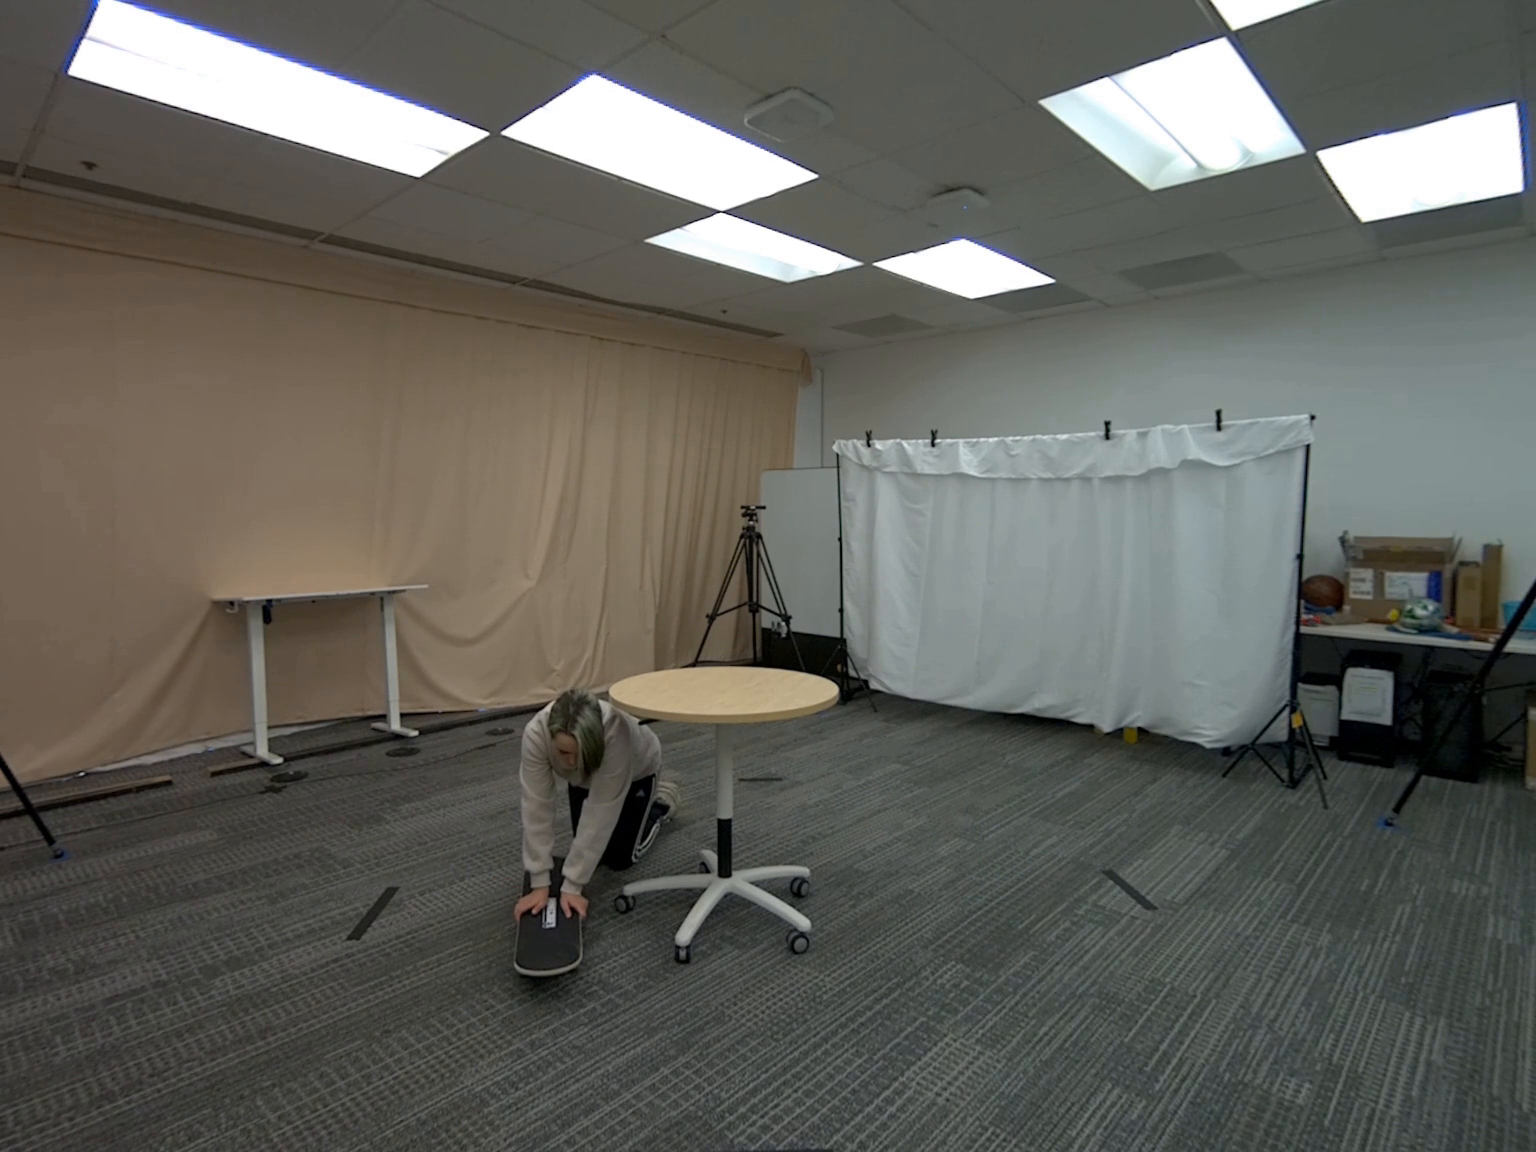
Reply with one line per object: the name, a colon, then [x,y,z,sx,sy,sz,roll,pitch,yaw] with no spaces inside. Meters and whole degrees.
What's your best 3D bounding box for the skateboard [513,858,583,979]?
skateboard: [-0.690,1.108,2.717,0.191,0.110,0.796,-2,5,-12]
